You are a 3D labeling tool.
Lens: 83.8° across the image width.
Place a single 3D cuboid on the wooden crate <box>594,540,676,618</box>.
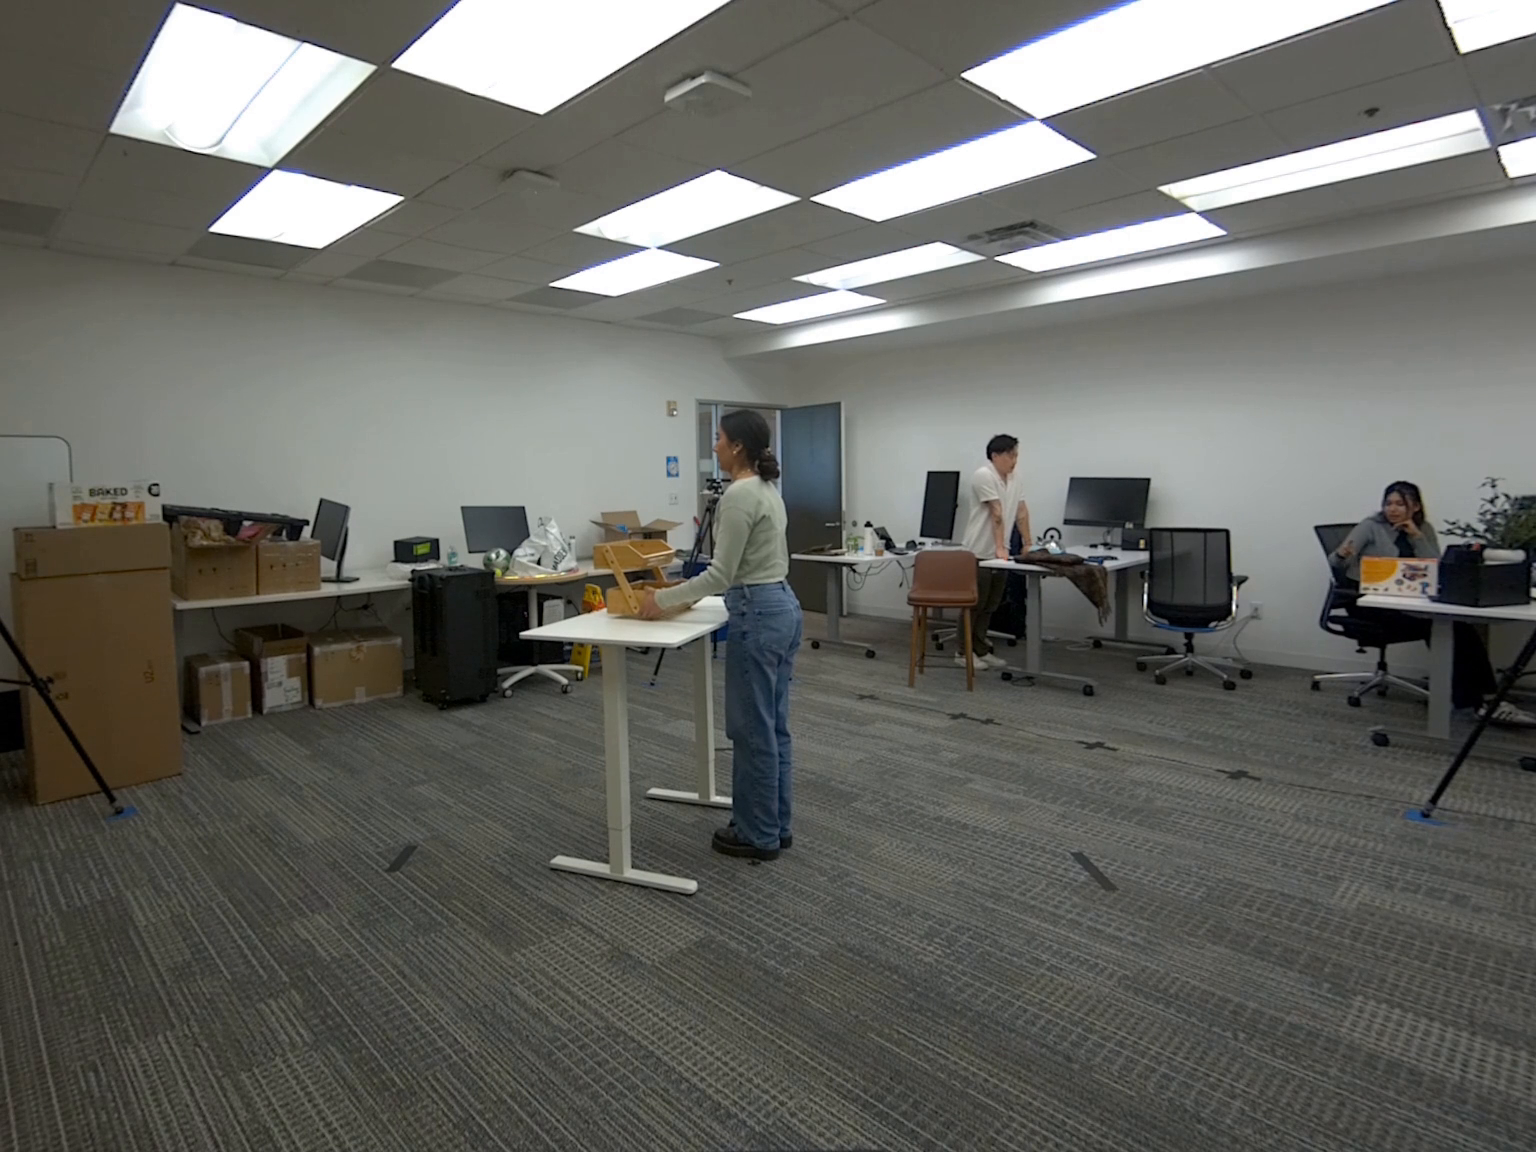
[{"bbox_3d":[-0.462,-0.004,3.320,0.307,0.272,0.320,1,5,18],"label":"wooden crate"}]
